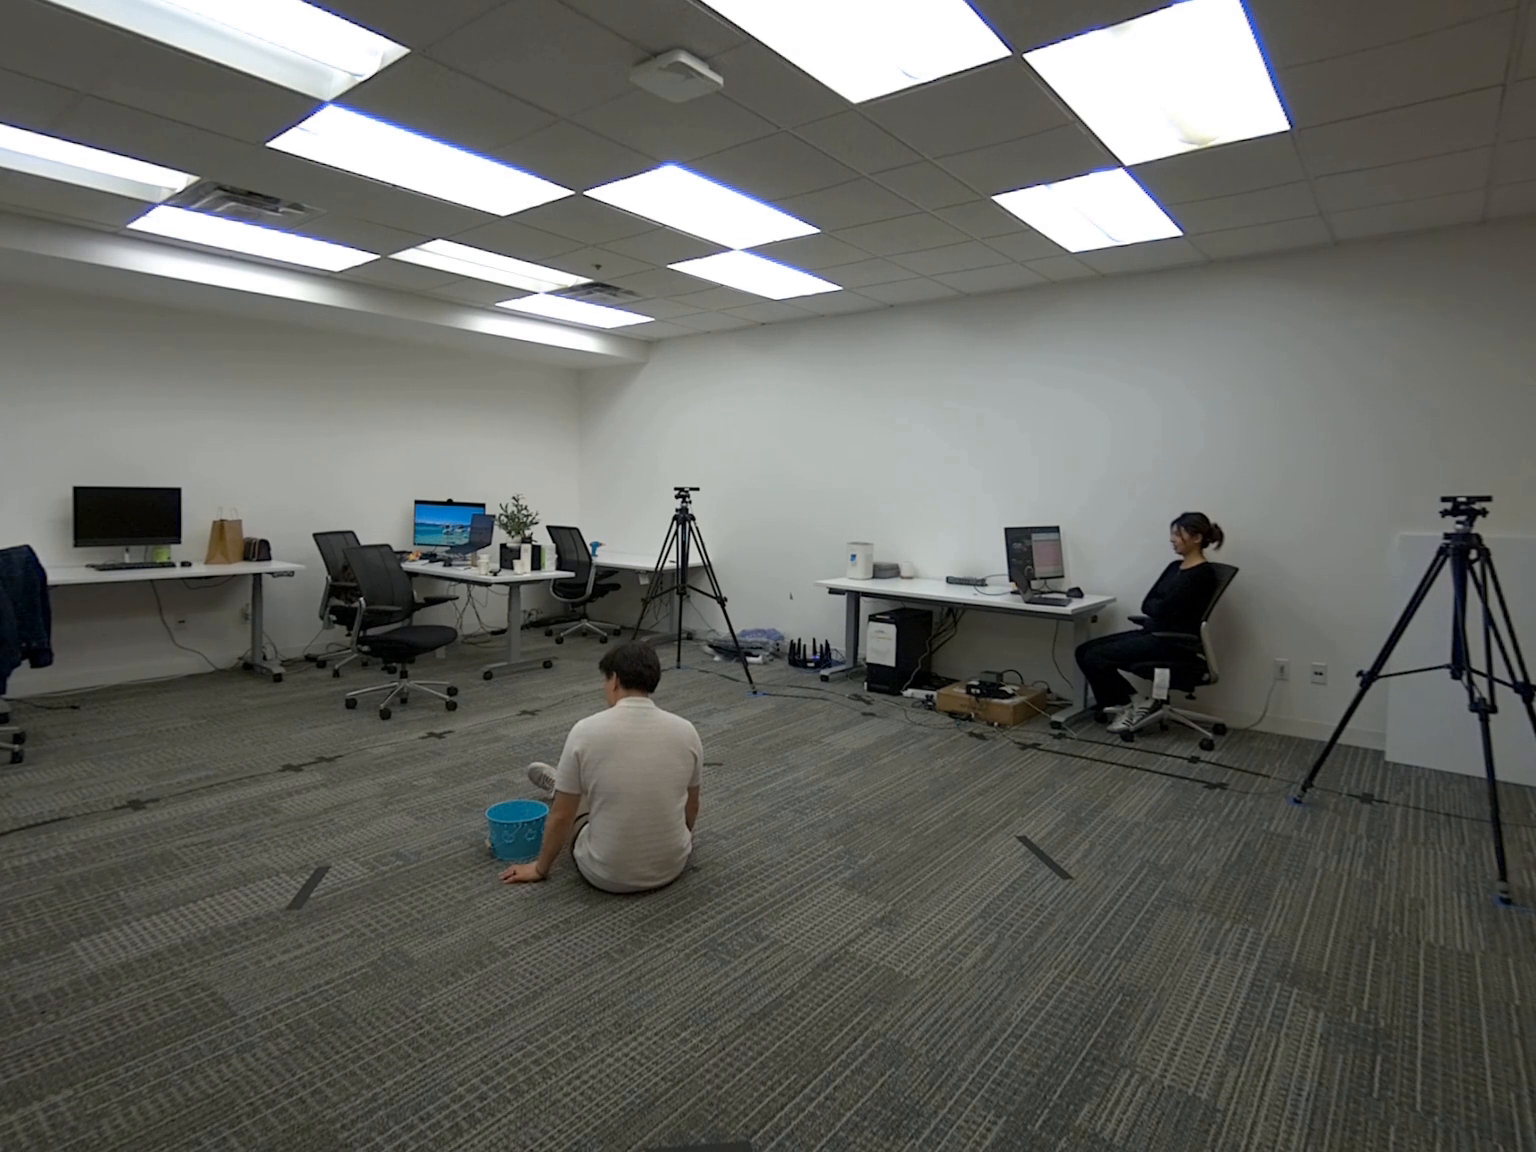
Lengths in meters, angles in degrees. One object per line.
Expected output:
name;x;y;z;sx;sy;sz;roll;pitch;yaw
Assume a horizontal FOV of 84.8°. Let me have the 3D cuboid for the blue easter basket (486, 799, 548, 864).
blue easter basket;-0.974;0.967;3.241;0.243;0.155;0.245;0;5;-2
